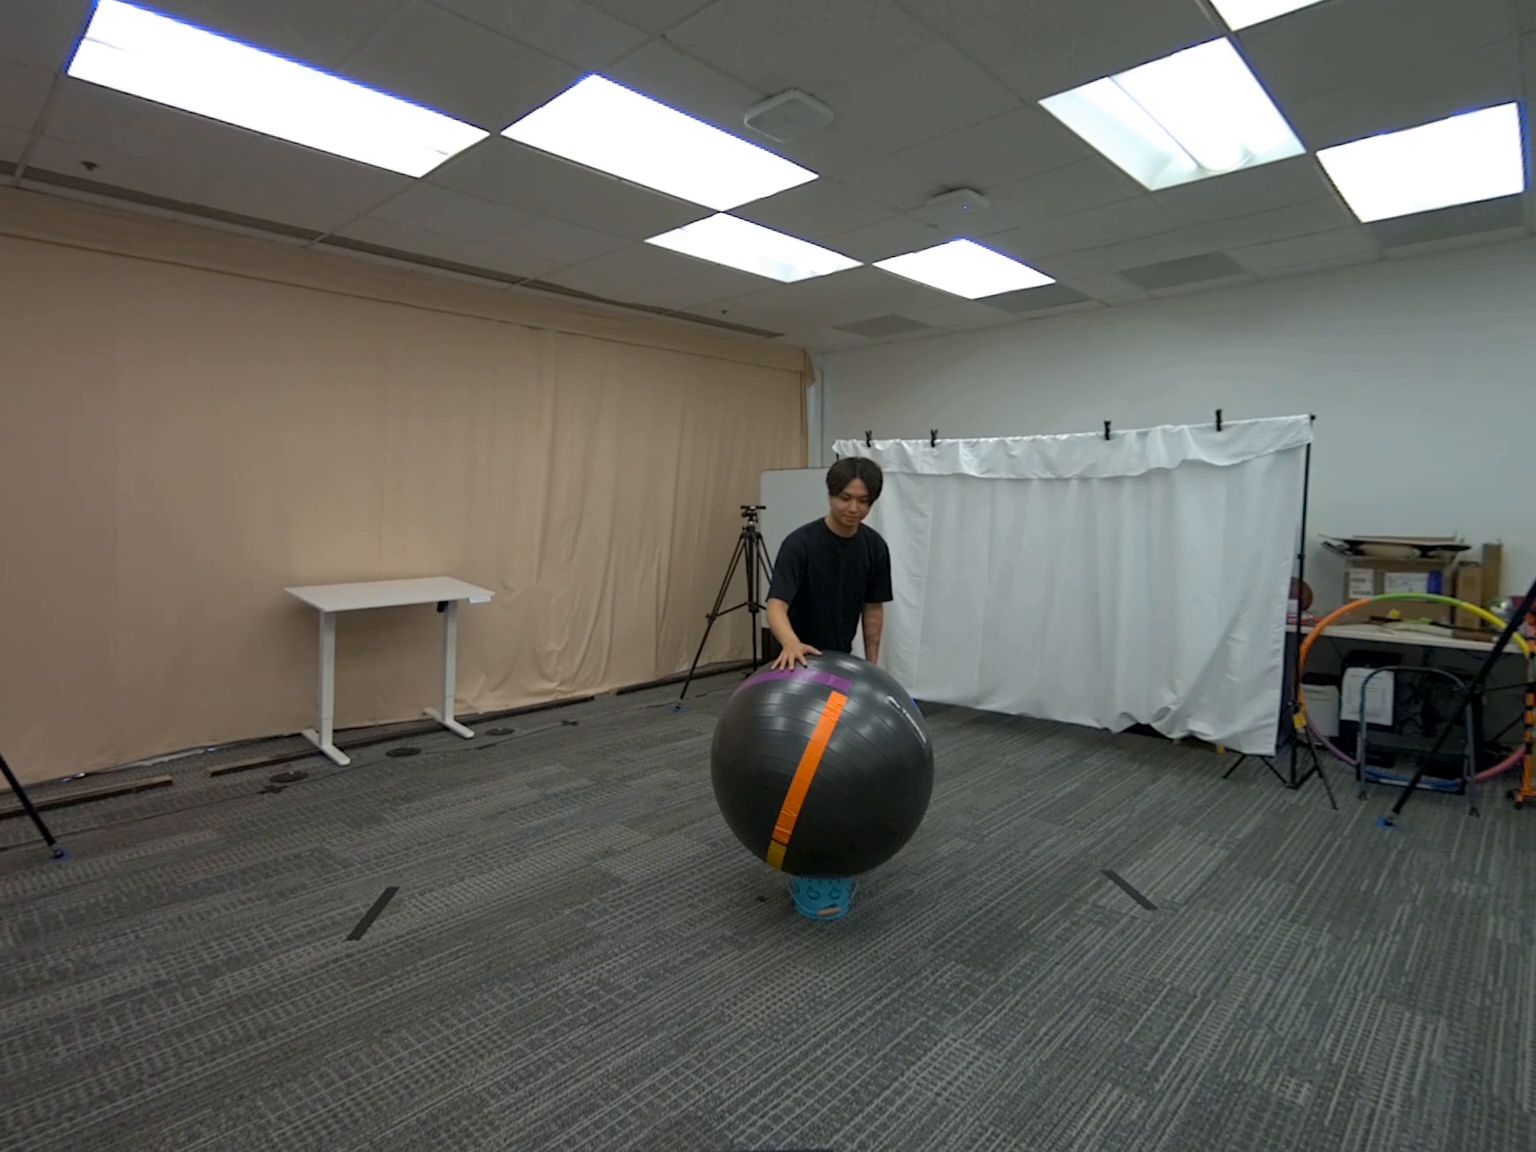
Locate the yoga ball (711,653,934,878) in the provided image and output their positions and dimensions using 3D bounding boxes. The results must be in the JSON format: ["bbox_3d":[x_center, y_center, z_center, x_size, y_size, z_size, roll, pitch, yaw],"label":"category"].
[{"bbox_3d":[0.183,0.641,2.887,0.757,0.756,0.760,0,4,-2],"label":"yoga ball"}]
